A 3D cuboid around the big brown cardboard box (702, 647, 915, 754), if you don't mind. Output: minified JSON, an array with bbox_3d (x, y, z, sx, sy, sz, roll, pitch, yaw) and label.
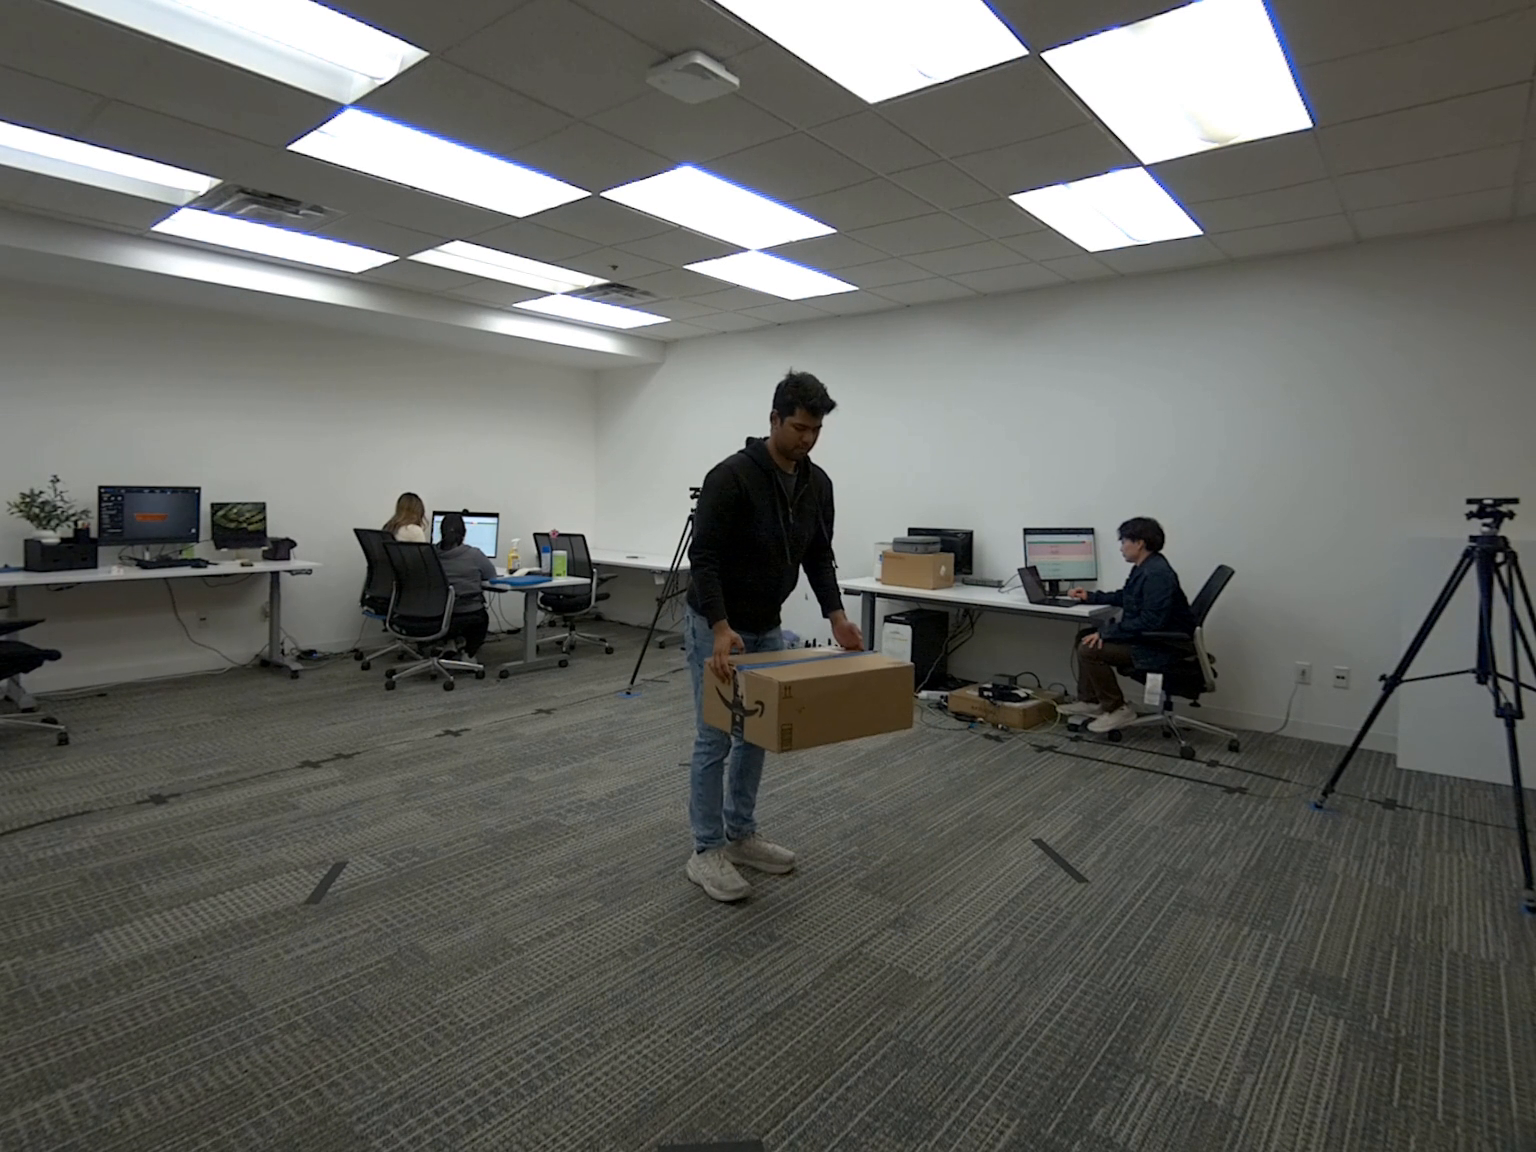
[{"bbox_3d":[0.126,0.394,2.785,0.572,0.232,0.431,-3,5,-35],"label":"big brown cardboard box"}]
